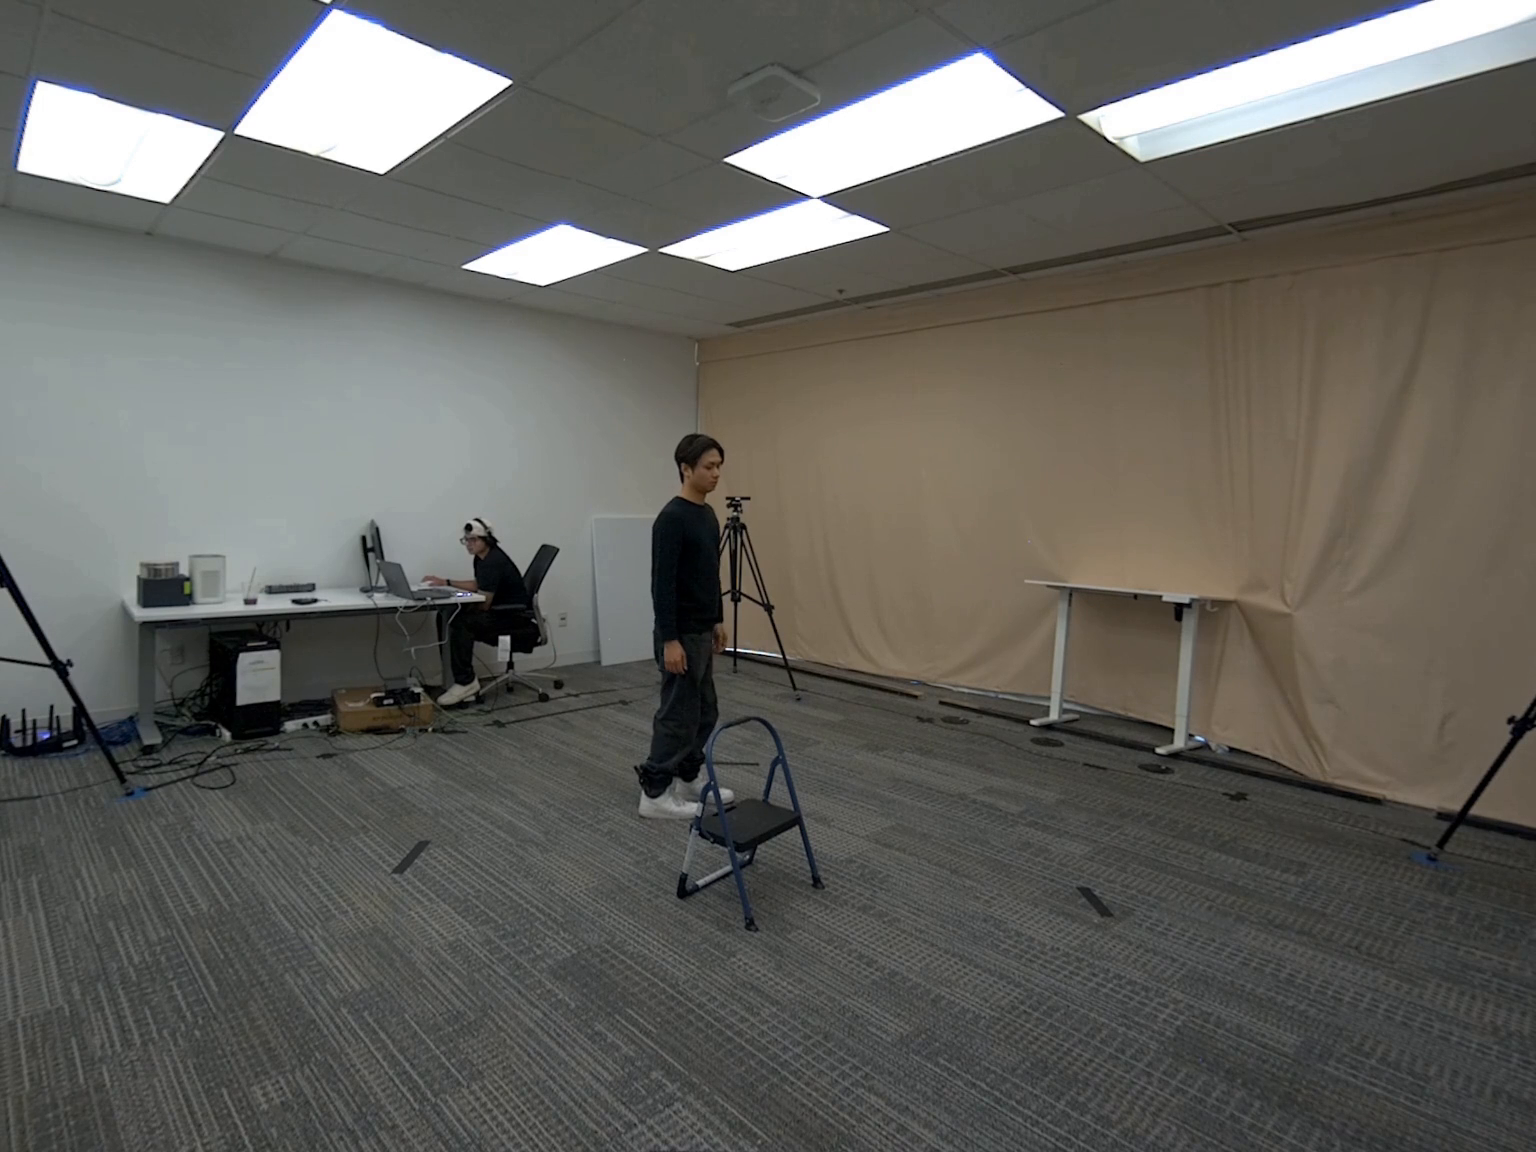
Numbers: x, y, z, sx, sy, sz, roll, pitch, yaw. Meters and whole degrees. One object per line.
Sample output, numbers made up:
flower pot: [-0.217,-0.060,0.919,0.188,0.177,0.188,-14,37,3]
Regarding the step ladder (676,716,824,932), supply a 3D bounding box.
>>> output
step ladder: [-0.057,0.817,2.959,0.358,0.605,0.421,4,4,37]
